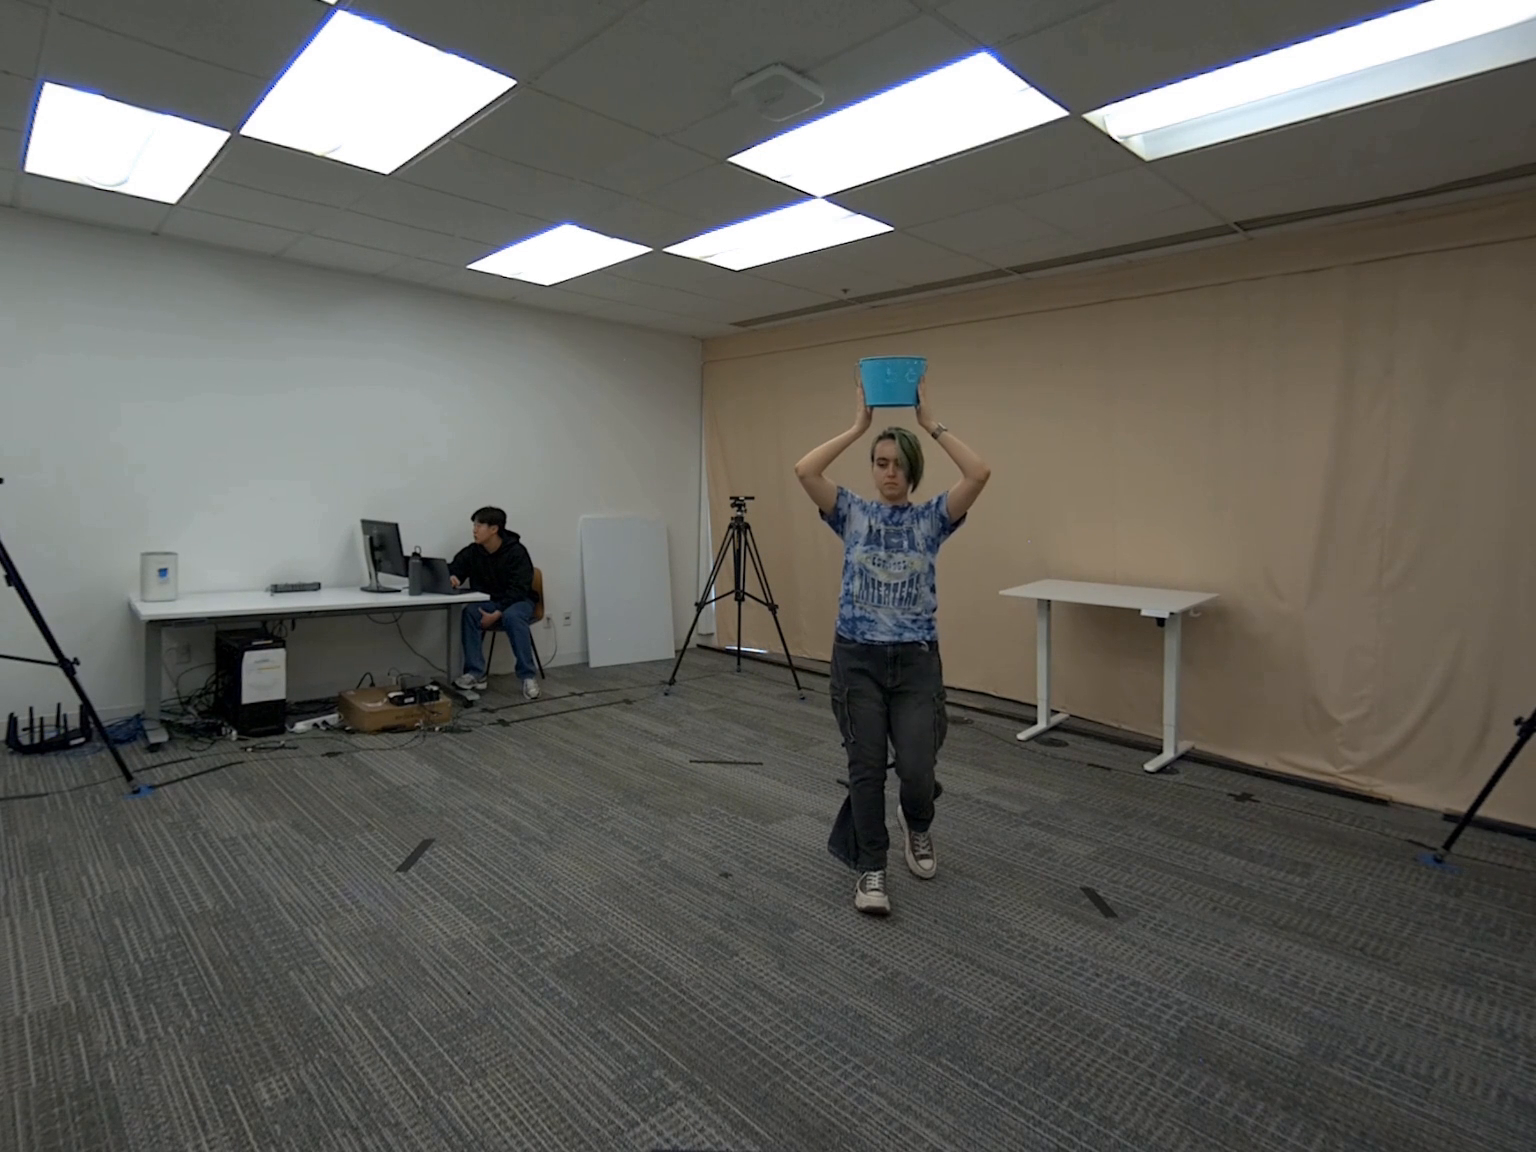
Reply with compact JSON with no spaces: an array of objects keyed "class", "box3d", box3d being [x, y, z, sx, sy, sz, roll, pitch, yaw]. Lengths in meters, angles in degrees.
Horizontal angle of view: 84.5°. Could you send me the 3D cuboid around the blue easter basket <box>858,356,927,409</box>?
[{"class":"blue easter basket","box3d":[0.434,-0.657,2.848,0.243,0.155,0.244,-1,5,-1]}]
